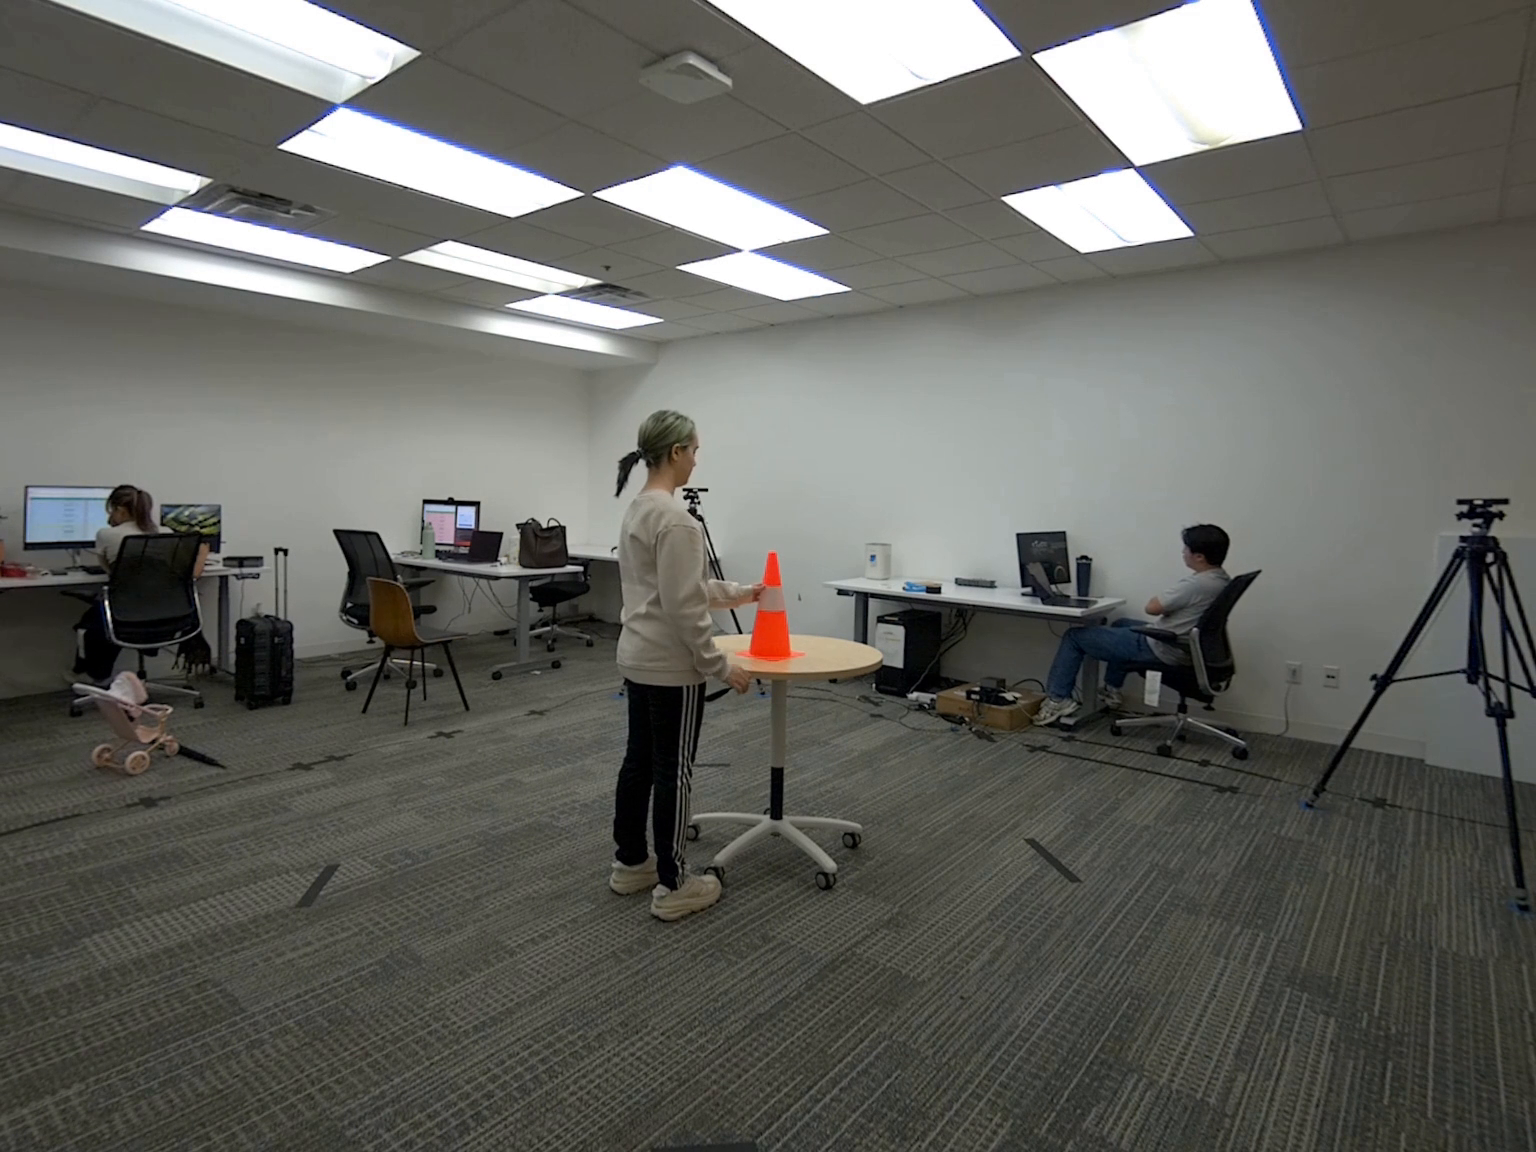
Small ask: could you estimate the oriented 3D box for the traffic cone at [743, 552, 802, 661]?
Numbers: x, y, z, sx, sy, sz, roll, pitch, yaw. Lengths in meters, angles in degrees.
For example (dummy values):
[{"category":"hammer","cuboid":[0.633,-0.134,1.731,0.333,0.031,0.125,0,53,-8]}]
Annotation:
[{"category":"traffic cone","cuboid":[0.001,0.101,3.140,0.211,0.382,0.198,4,6,35]}]
